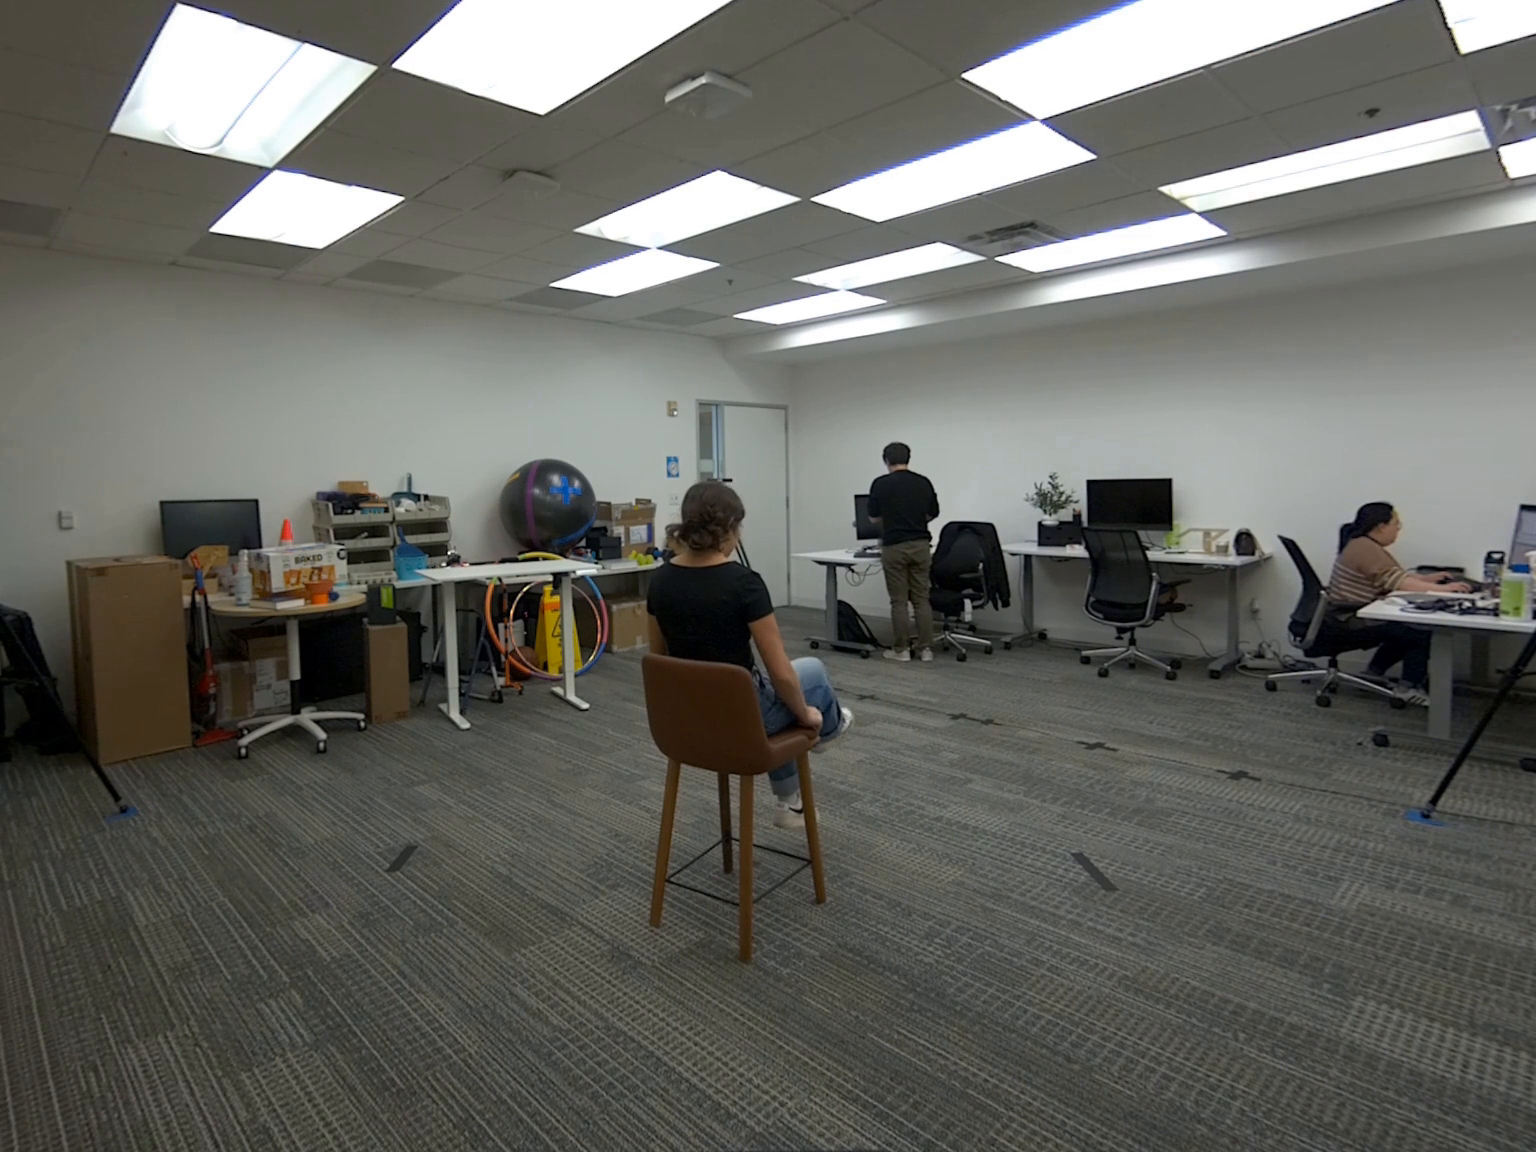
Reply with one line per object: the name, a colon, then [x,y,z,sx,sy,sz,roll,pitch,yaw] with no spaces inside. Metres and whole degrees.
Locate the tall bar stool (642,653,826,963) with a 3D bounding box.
tall bar stool: [-0.114,0.658,2.721,0.469,0.885,0.457,1,7,35]
